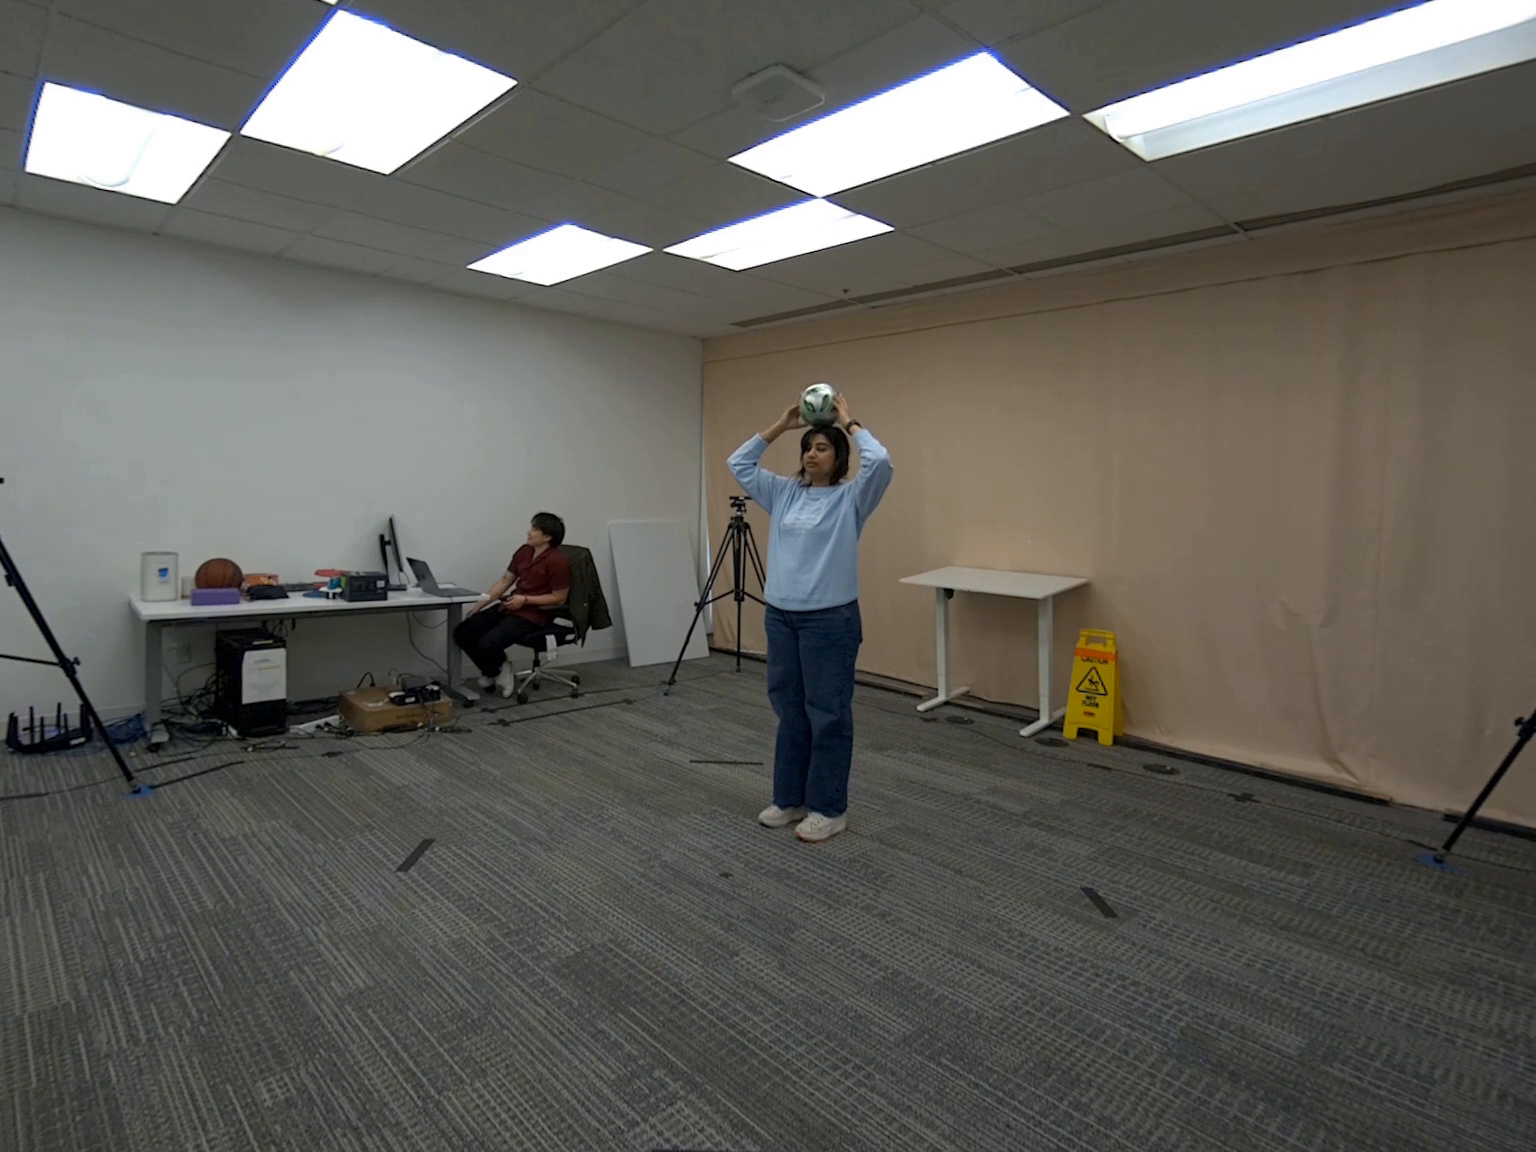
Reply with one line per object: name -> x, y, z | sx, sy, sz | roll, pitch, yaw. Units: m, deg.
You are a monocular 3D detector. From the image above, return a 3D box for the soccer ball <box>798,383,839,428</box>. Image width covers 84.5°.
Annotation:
soccer ball -> 0.214, -0.712, 3.539 | 0.187, 0.187, 0.188 | 1, 4, -1
